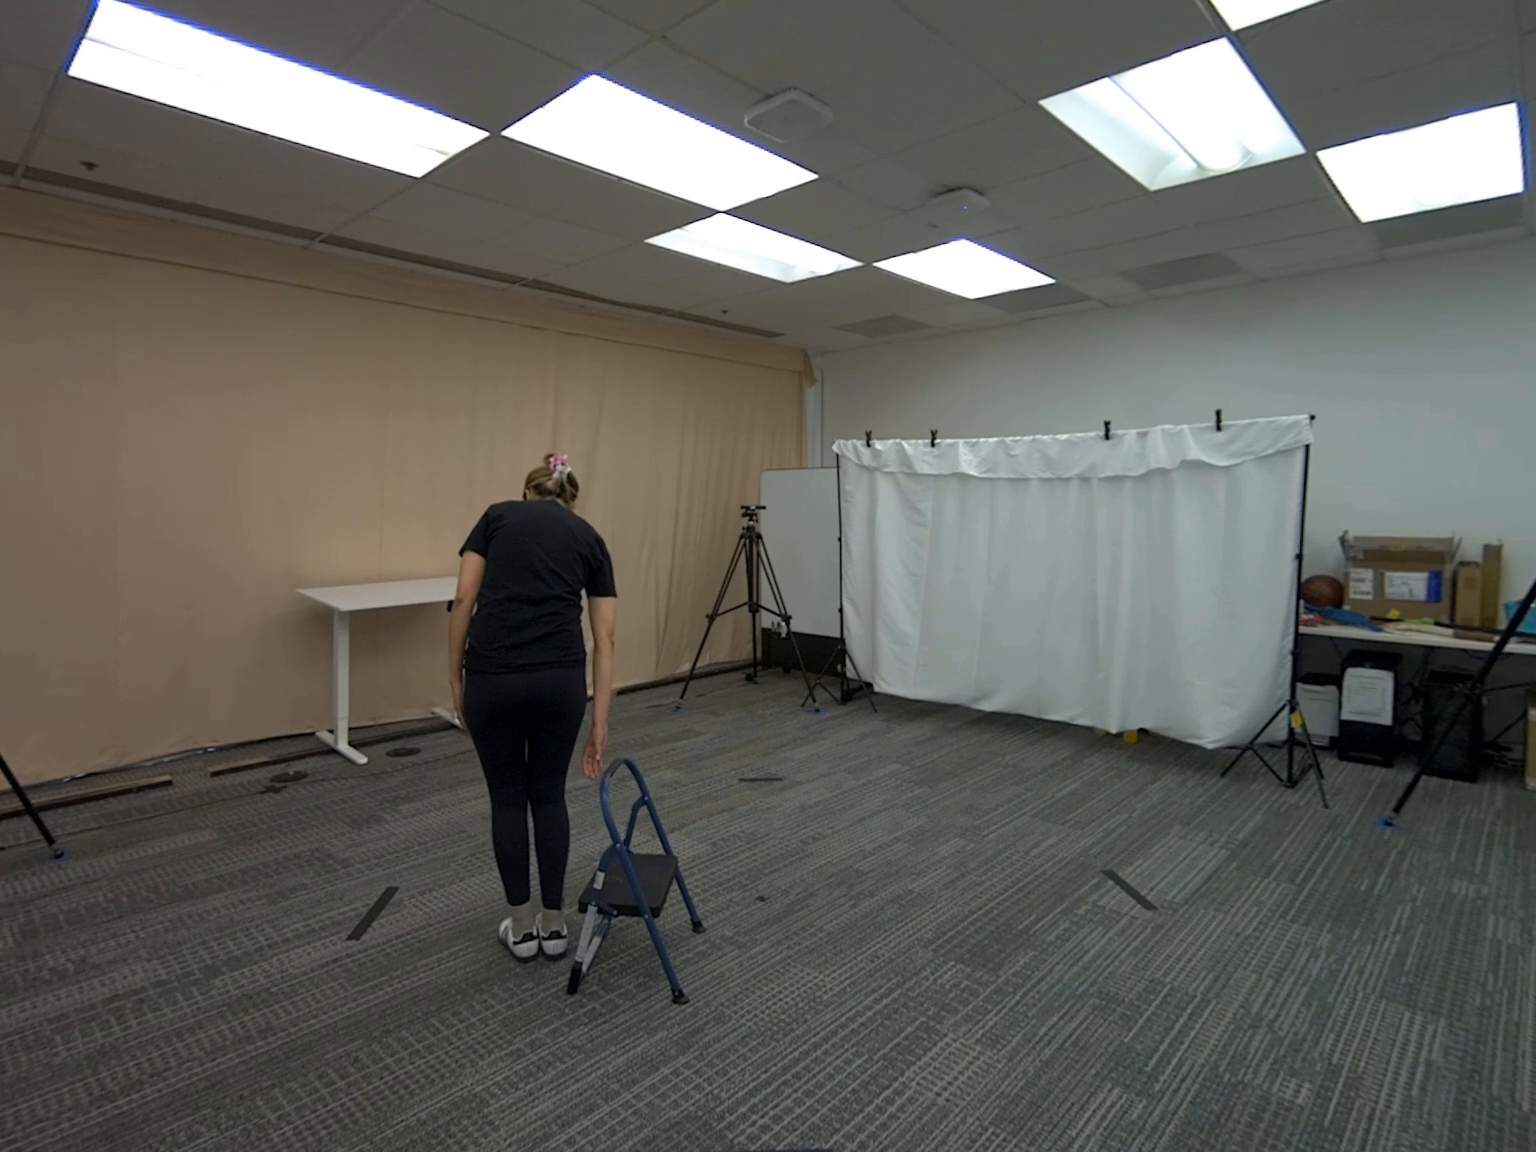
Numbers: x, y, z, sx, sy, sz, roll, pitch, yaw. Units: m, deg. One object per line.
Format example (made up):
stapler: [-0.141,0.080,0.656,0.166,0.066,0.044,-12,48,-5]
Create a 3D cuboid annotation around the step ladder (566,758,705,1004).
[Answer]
step ladder: [-0.389,0.884,2.566,0.351,0.605,0.429,1,3,4]
